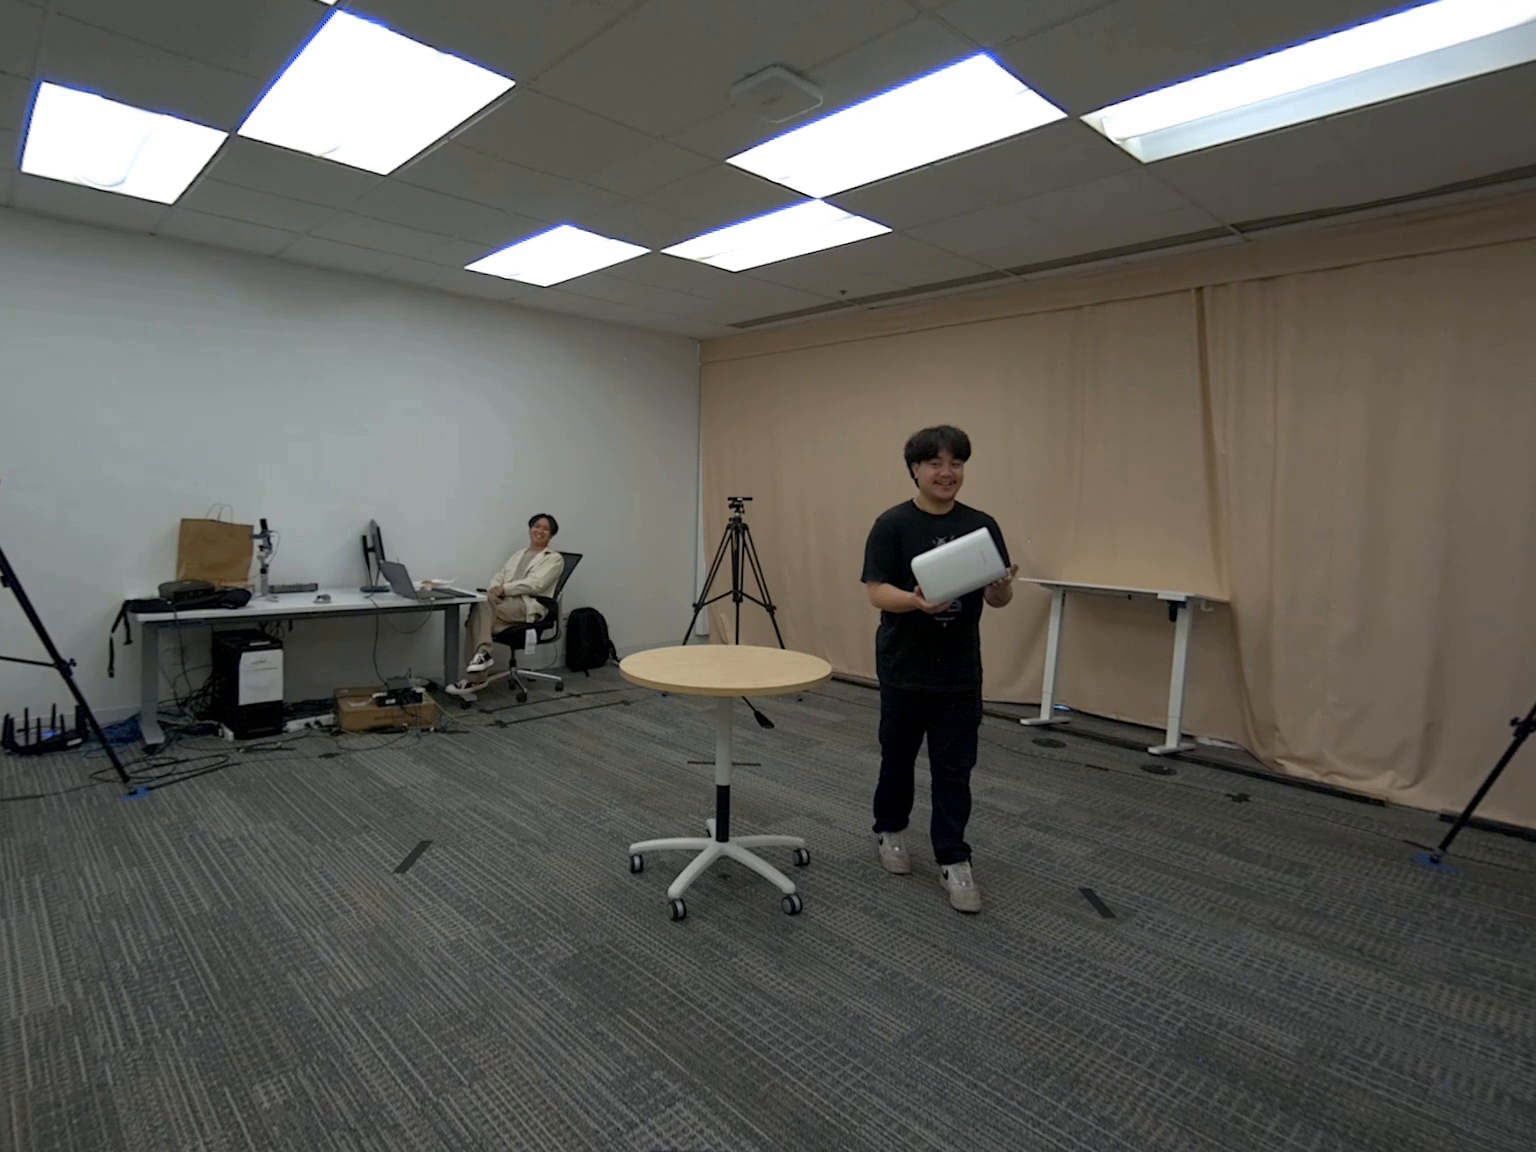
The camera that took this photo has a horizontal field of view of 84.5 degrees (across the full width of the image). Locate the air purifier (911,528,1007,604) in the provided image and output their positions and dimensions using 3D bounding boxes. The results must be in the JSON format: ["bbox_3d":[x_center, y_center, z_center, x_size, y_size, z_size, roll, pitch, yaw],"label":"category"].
[{"bbox_3d":[0.609,-0.027,2.717,0.267,0.171,0.170,-23,-2,13],"label":"air purifier"}]
